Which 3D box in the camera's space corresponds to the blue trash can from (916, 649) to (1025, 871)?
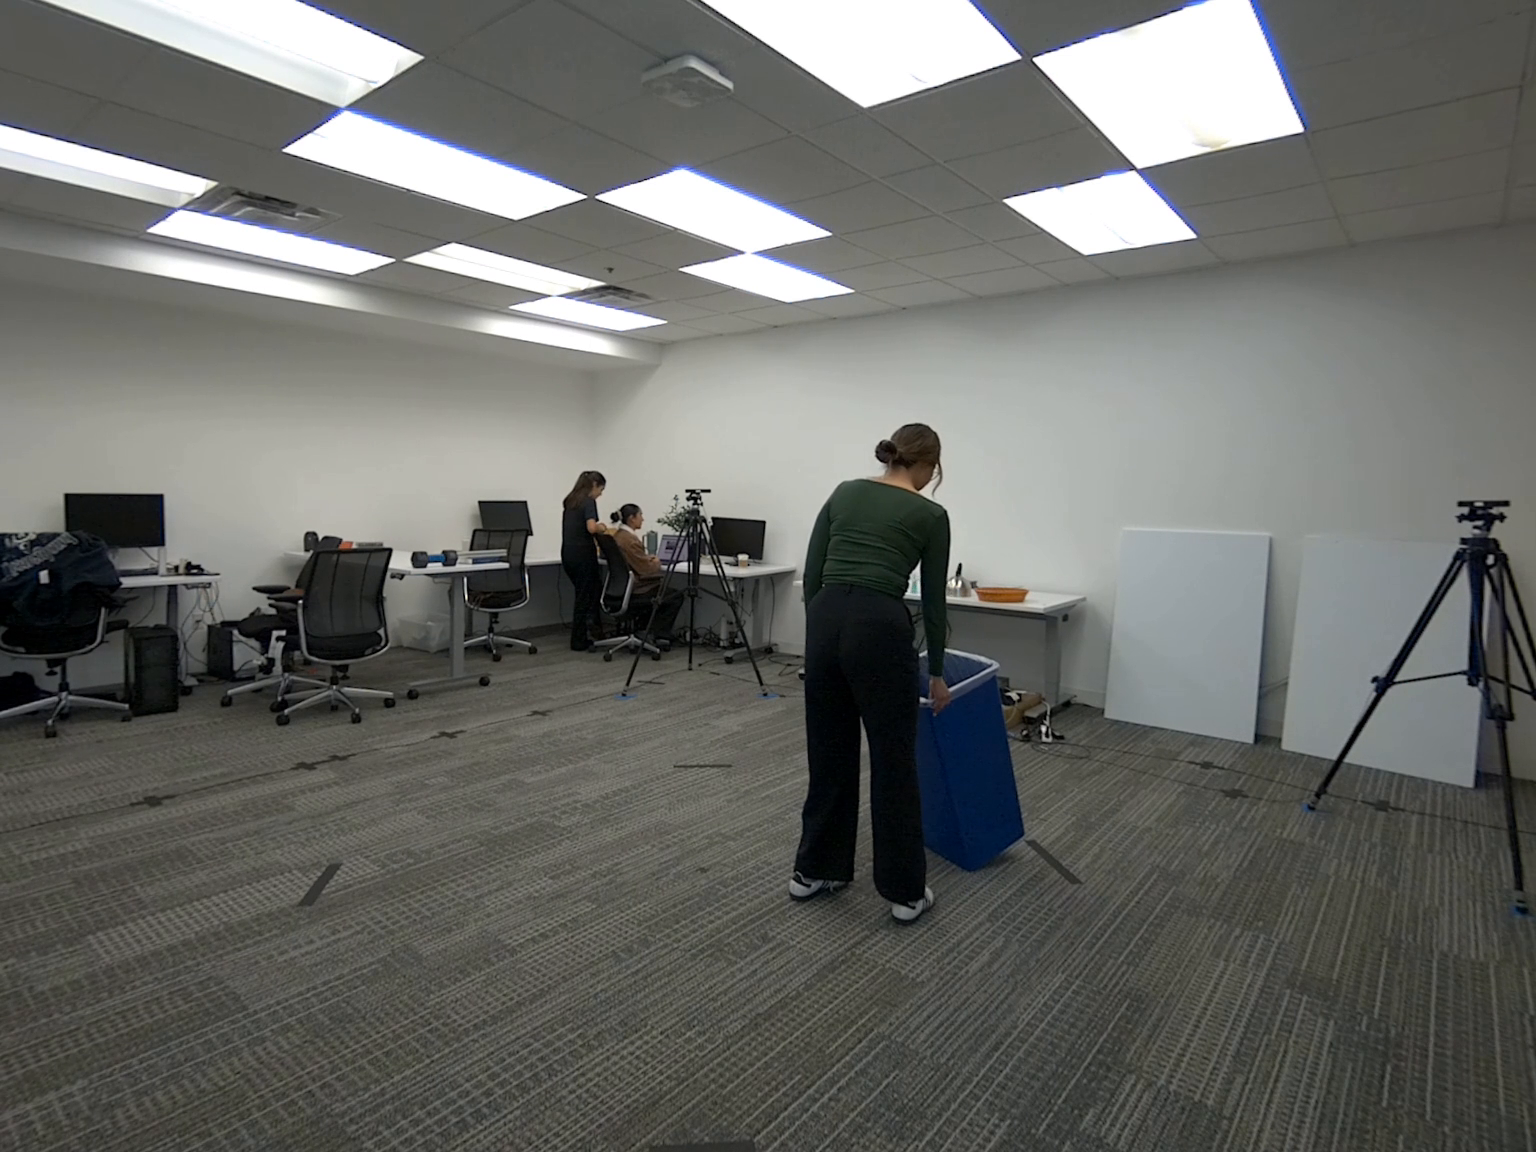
[{"bbox_3d":[0.703,0.693,3.282,0.368,0.704,0.389,-21,13,-26],"label":"blue trash can"}]
